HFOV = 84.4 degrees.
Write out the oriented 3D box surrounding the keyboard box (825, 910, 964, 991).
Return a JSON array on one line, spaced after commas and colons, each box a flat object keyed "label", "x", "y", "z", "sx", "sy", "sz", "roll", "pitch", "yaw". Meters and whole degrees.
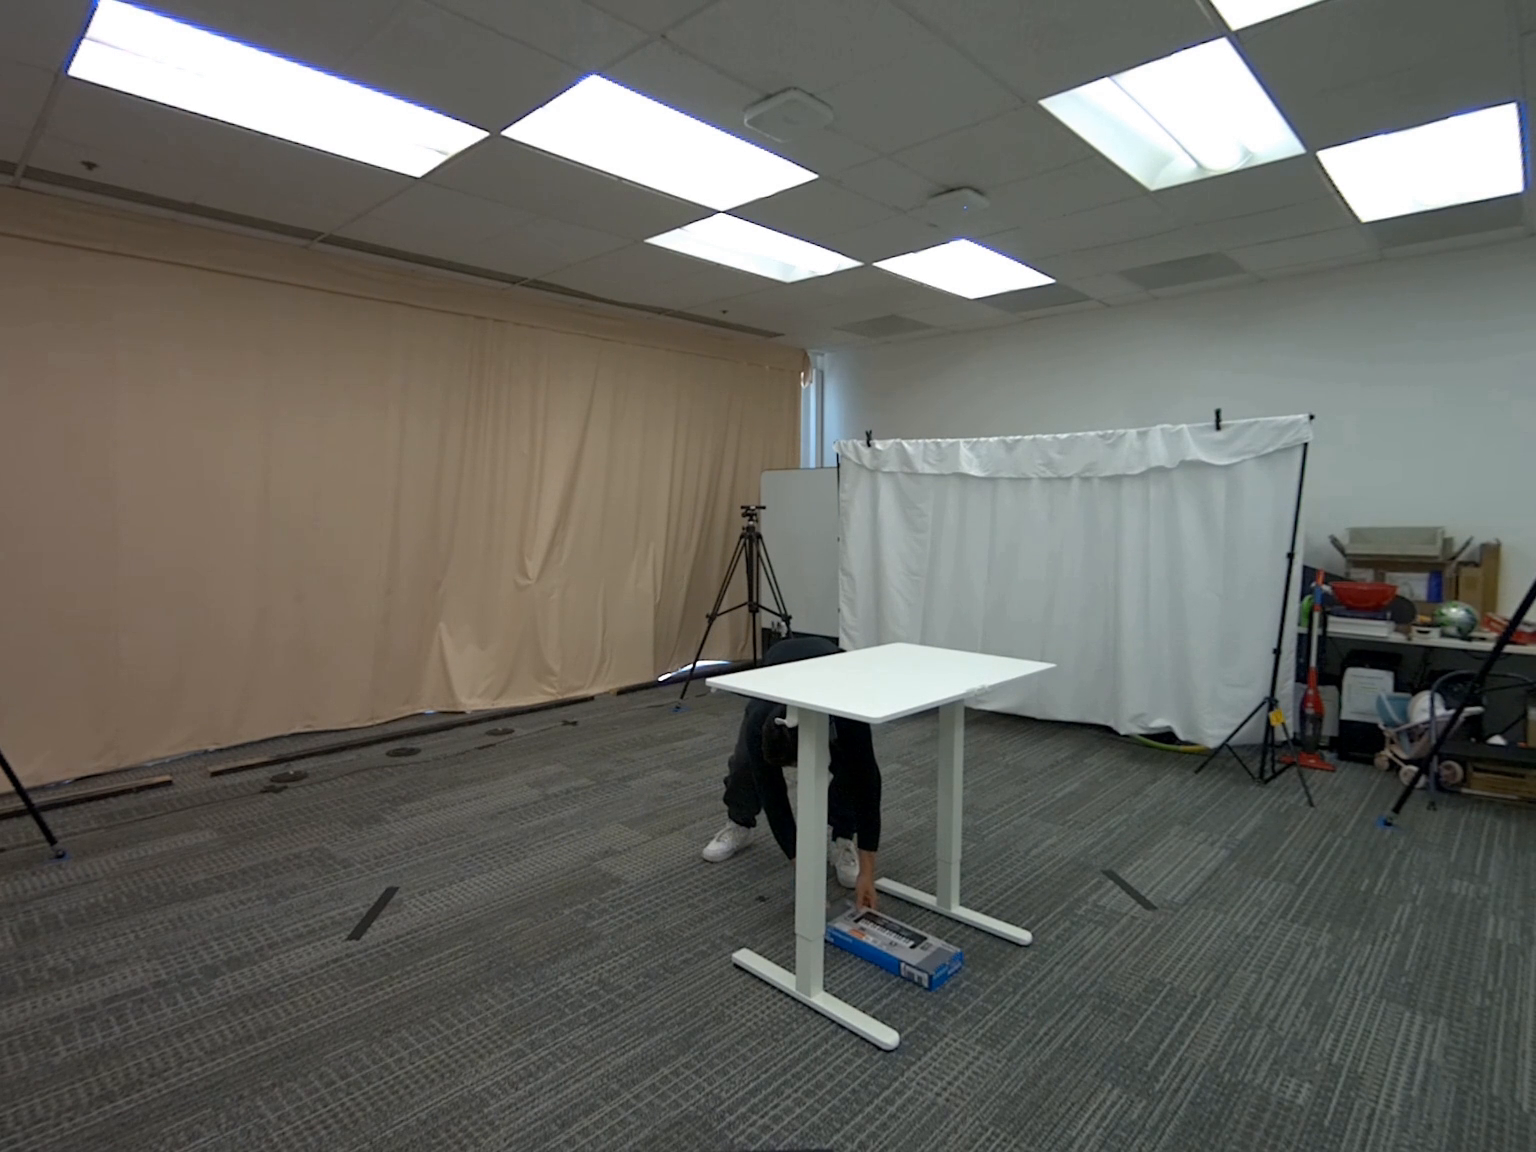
[{"label": "keyboard box", "x": 0.364, "y": 1.135, "z": 2.617, "sx": 0.452, "sy": 0.059, "sz": 0.171, "roll": 6, "pitch": 10, "yaw": 44}]
